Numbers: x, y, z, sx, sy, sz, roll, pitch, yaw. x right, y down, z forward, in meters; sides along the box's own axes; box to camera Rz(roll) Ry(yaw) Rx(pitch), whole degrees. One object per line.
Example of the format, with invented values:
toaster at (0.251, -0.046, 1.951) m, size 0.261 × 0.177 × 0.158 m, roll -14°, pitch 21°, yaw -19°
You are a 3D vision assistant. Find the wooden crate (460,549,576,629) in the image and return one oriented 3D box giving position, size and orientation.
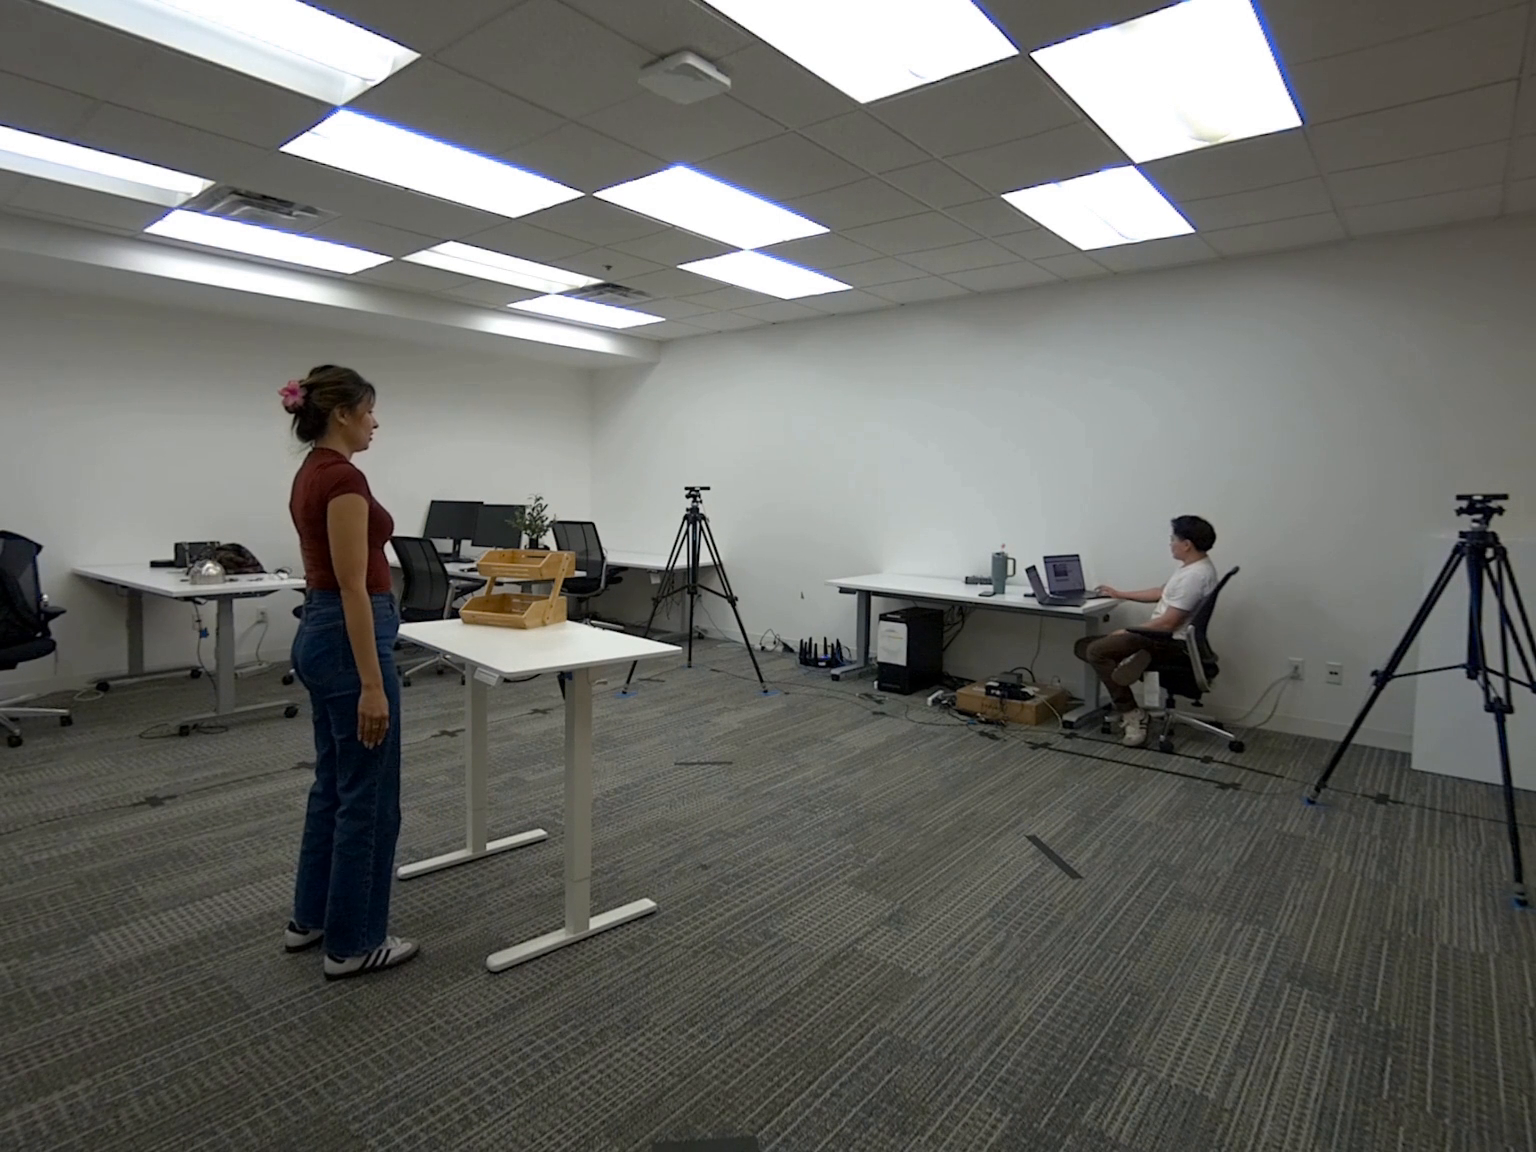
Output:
wooden crate at (-0.956, 0.039, 3.179) m, size 0.333 × 0.272 × 0.295 m, roll 2°, pitch 4°, yaw 25°
